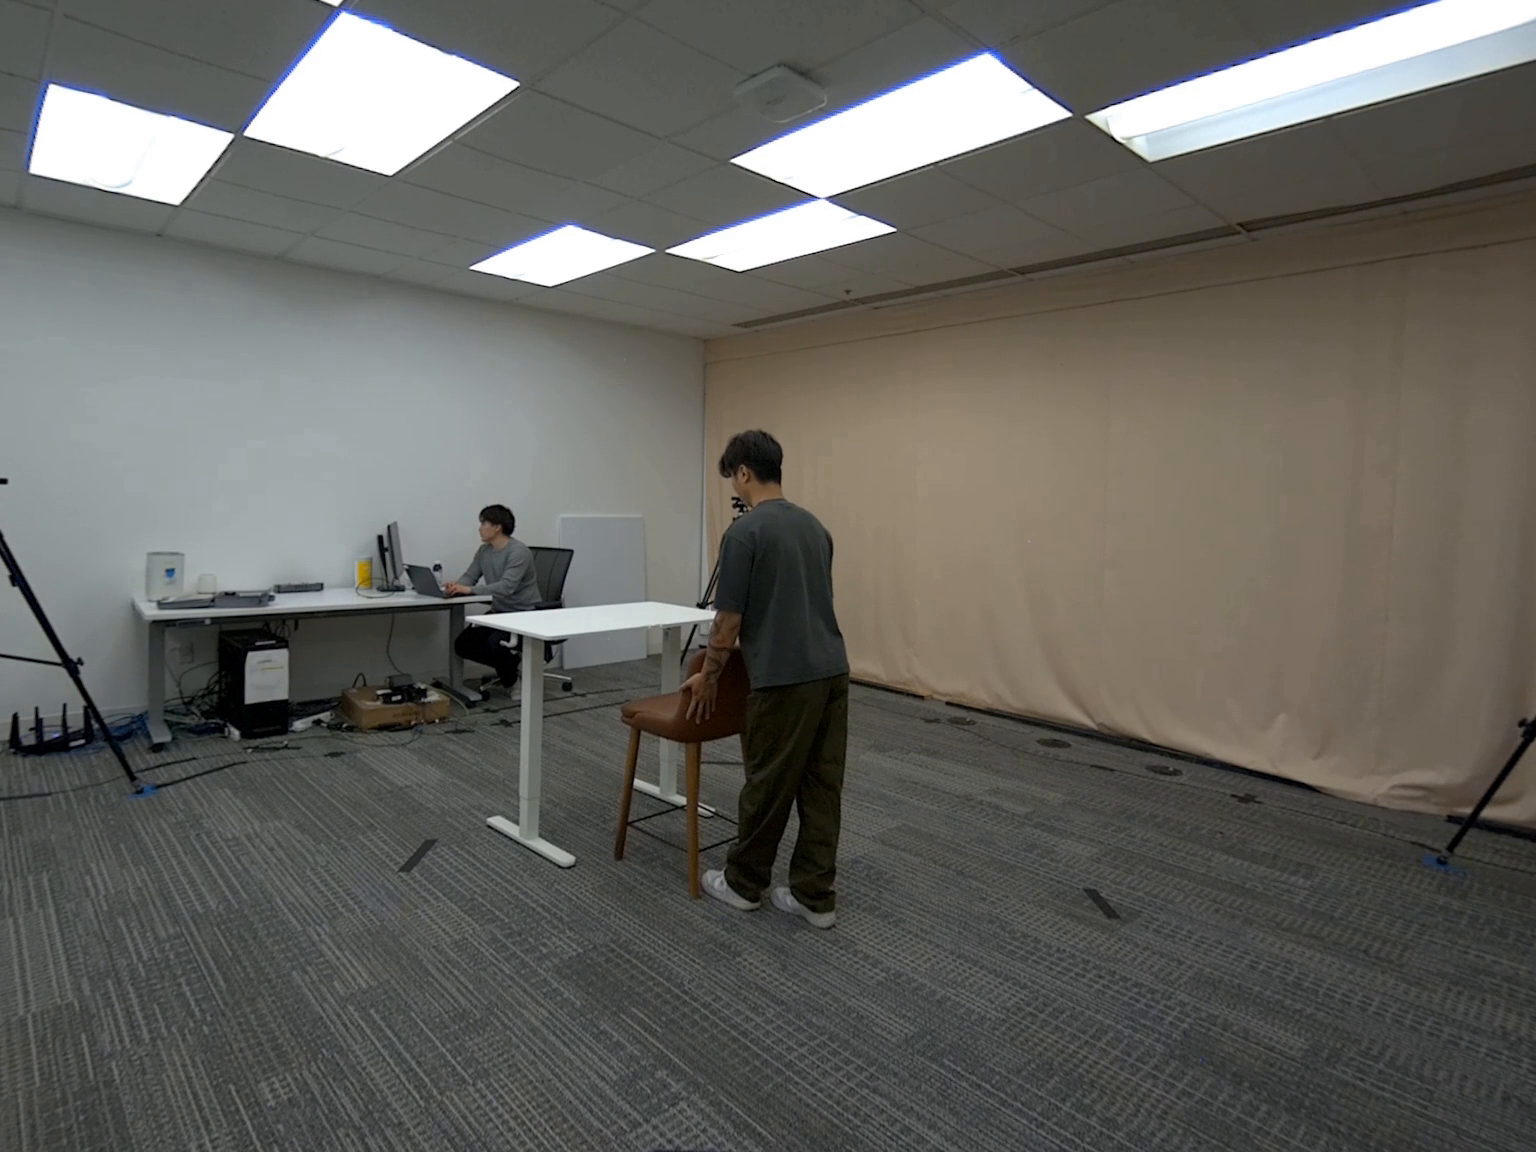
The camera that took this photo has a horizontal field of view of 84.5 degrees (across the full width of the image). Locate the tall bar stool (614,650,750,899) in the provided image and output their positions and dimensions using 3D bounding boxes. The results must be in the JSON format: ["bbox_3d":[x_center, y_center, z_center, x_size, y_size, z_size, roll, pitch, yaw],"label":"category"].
[{"bbox_3d":[-0.279,0.660,3.178,0.480,0.887,0.446,7,6,44],"label":"tall bar stool"}]
